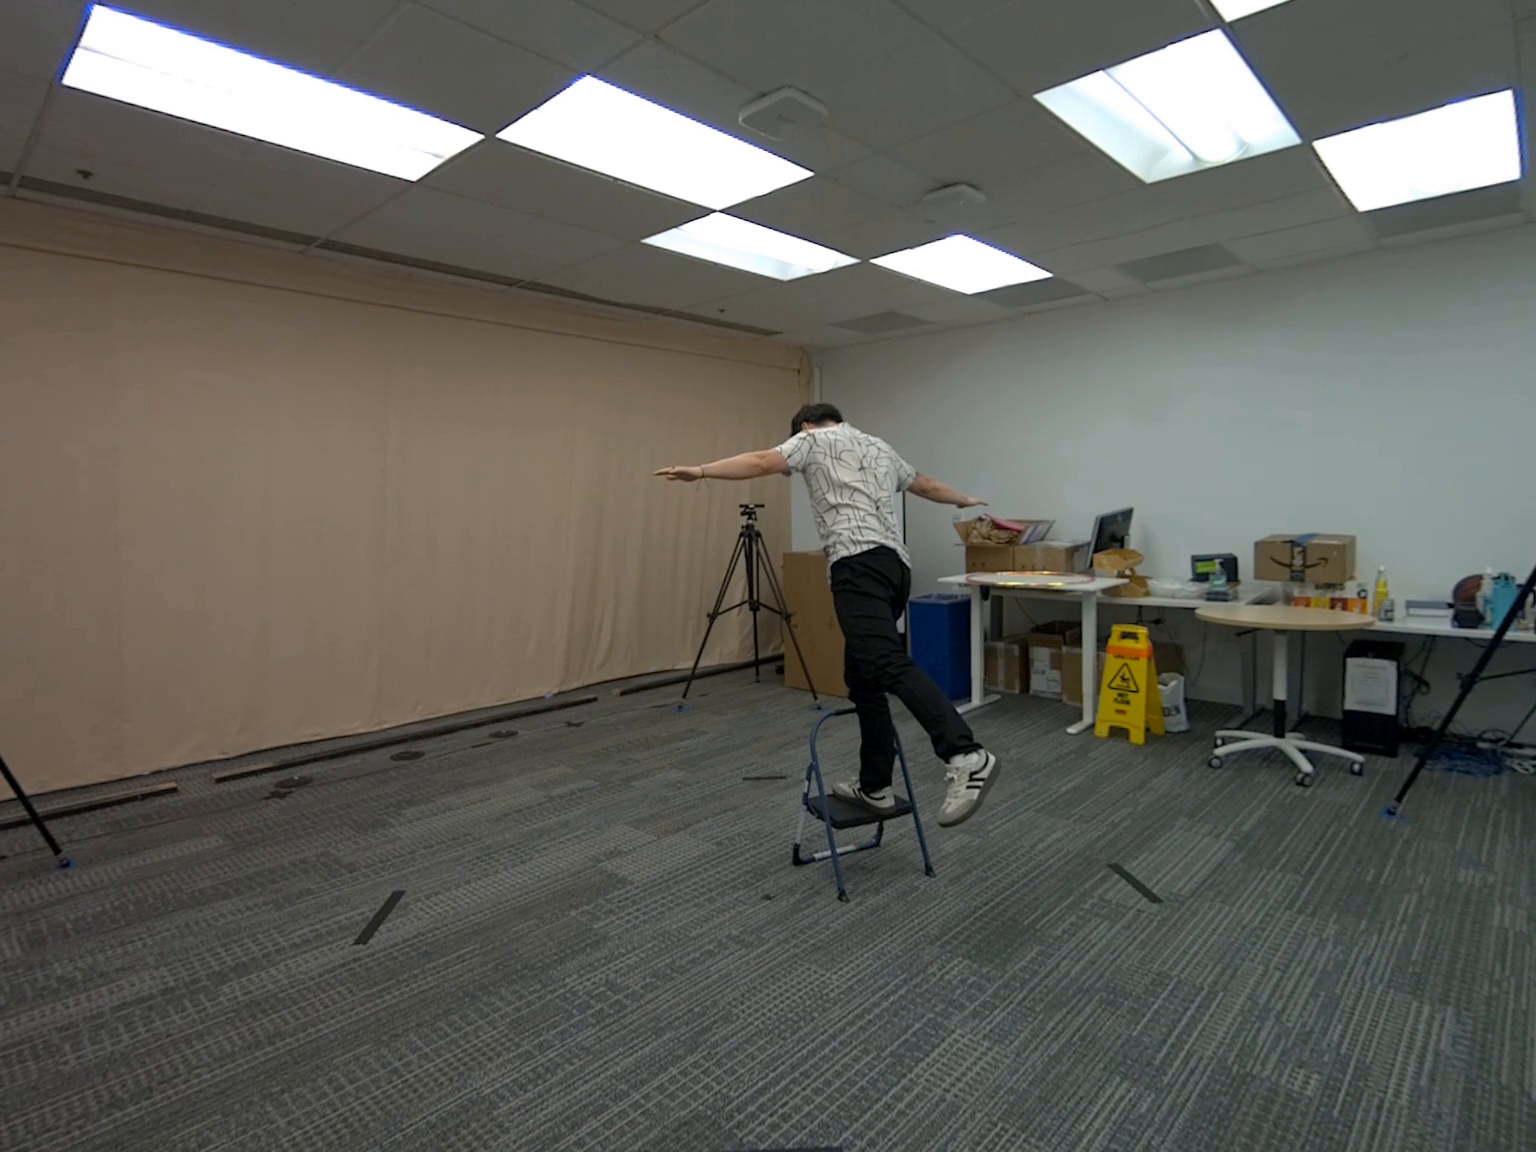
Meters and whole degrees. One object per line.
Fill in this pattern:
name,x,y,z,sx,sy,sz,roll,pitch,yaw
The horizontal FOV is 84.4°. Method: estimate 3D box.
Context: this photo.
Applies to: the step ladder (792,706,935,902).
step ladder,0.356,0.812,3.174,0.419,0.604,0.359,-3,4,-30
